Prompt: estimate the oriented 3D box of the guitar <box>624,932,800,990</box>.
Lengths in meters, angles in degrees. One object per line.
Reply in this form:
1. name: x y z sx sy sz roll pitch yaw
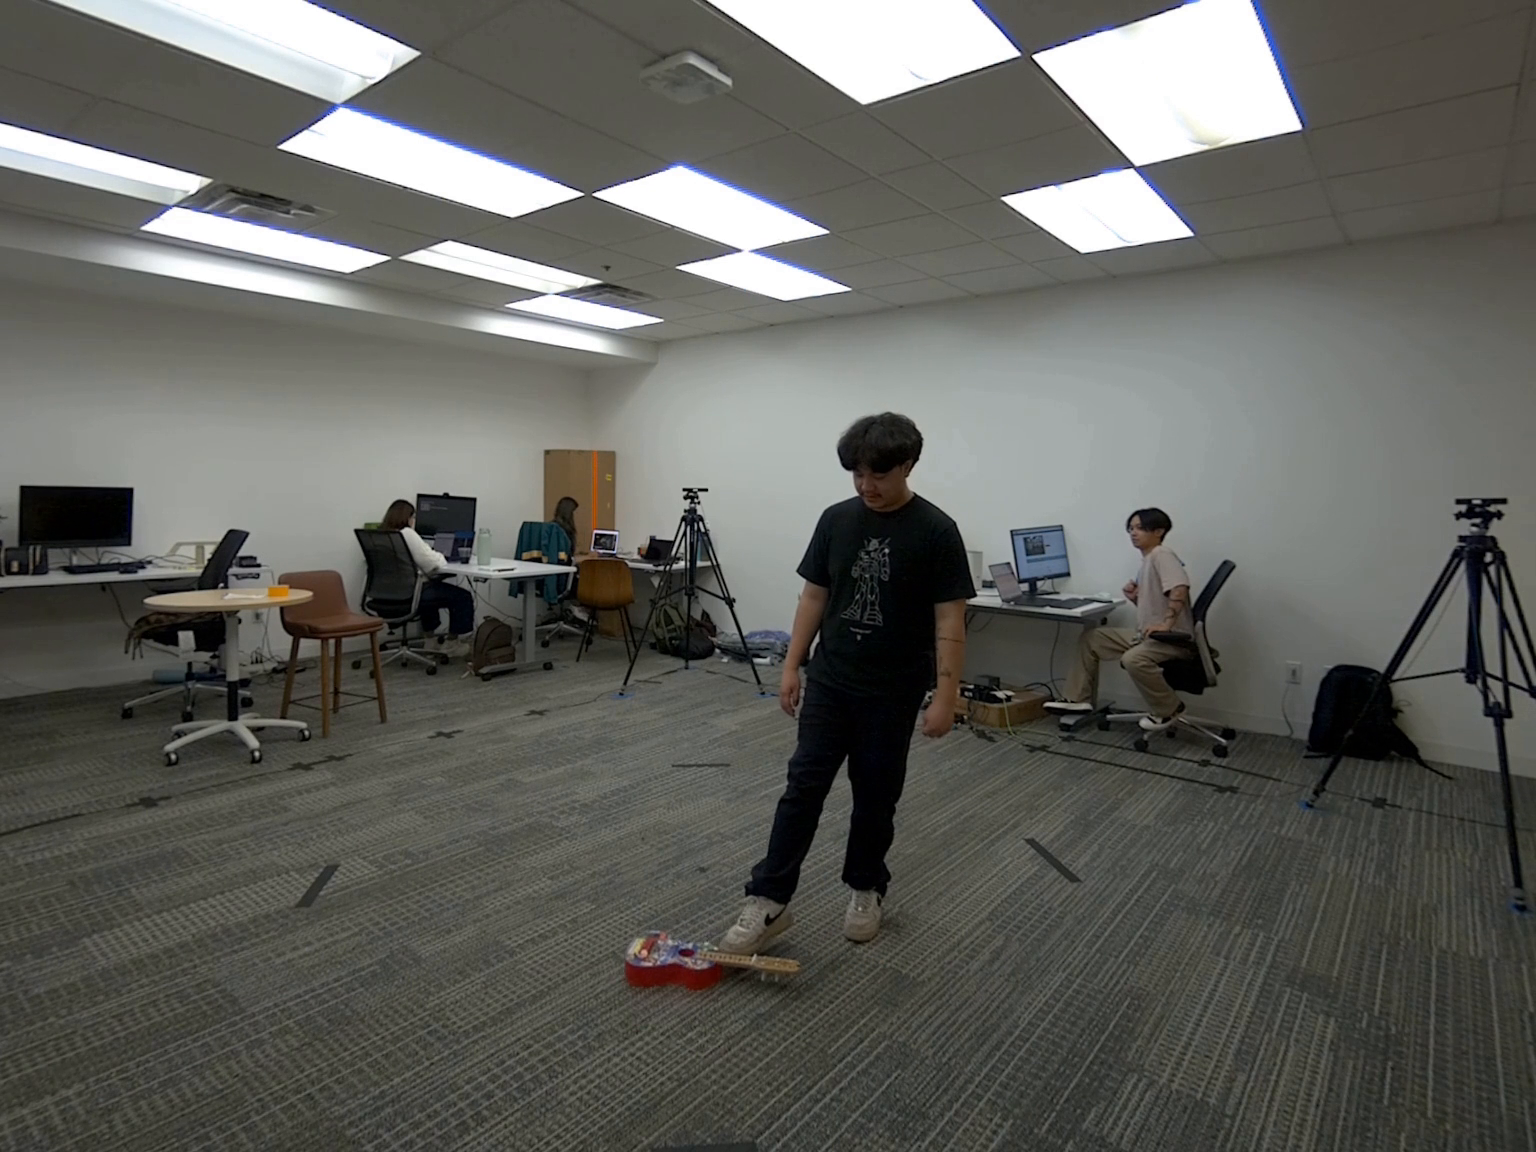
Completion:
1. guitar: -0.164 1.105 2.395 0.508 0.070 0.189 2 5 20
